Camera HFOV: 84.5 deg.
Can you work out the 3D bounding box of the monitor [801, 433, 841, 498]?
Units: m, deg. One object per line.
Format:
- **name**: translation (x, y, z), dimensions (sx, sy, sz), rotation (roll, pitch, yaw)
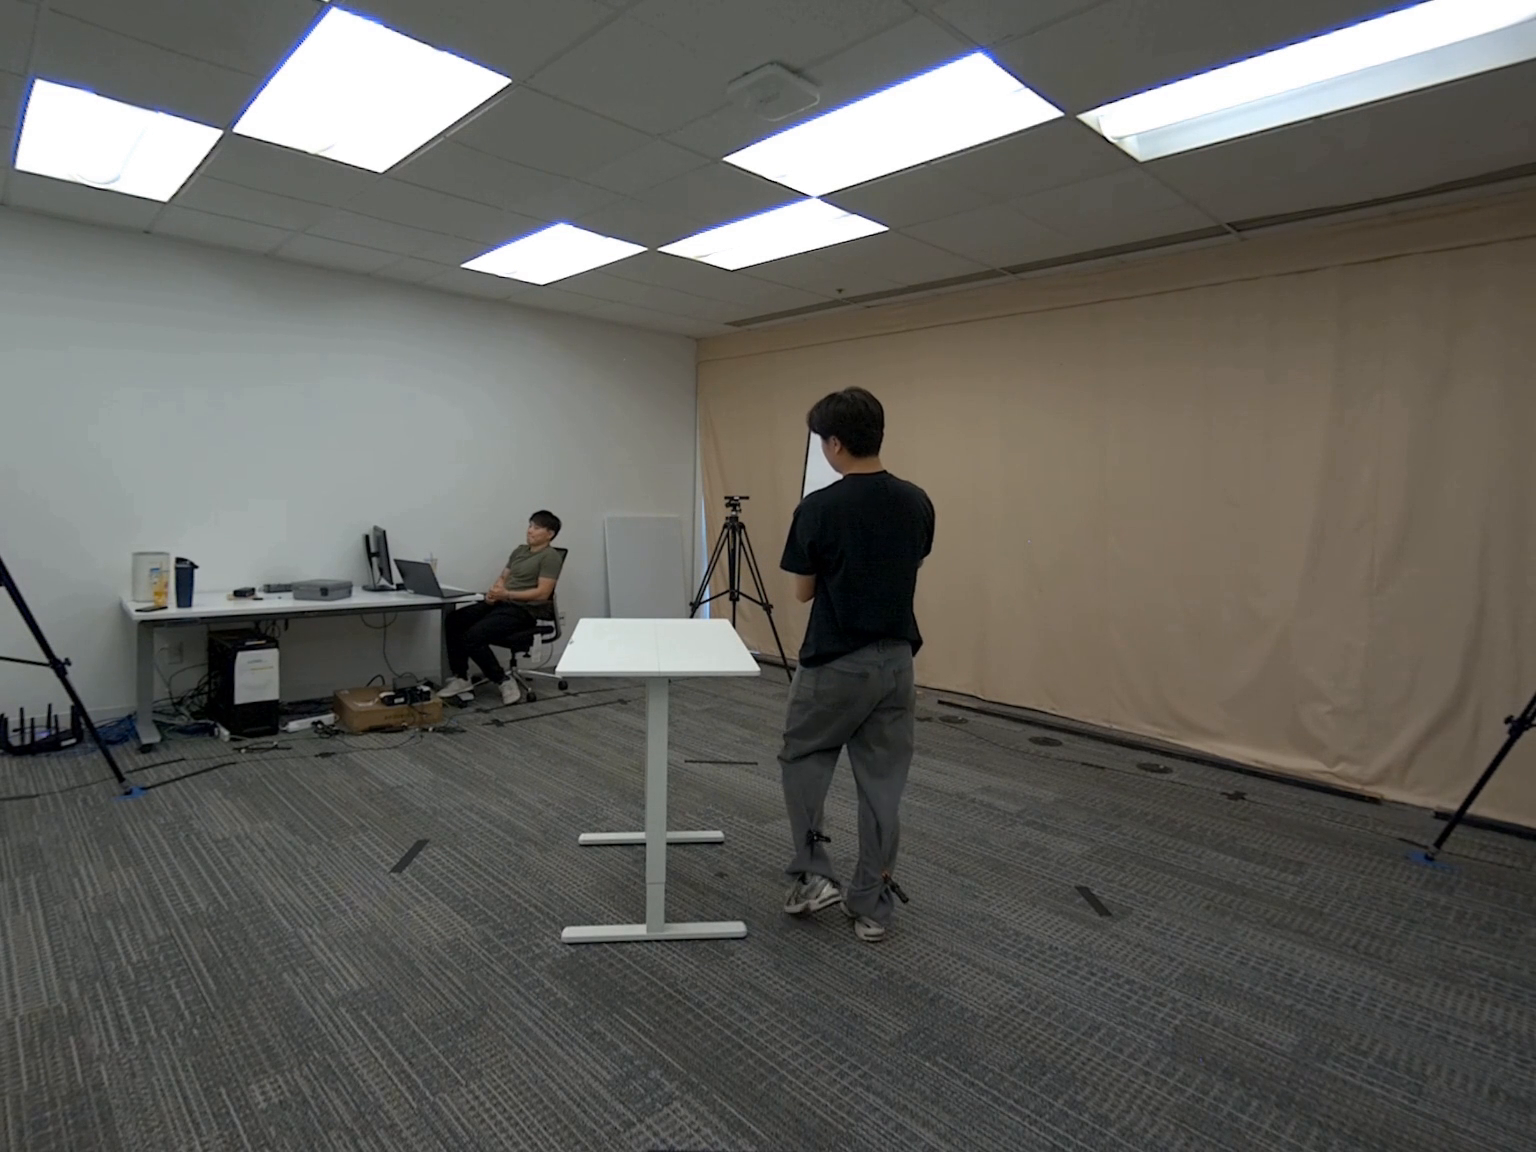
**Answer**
- **monitor**: translation (0.250, -0.280, 3.045), dimensions (0.221, 0.562, 0.569), rotation (-8, 9, -9)
